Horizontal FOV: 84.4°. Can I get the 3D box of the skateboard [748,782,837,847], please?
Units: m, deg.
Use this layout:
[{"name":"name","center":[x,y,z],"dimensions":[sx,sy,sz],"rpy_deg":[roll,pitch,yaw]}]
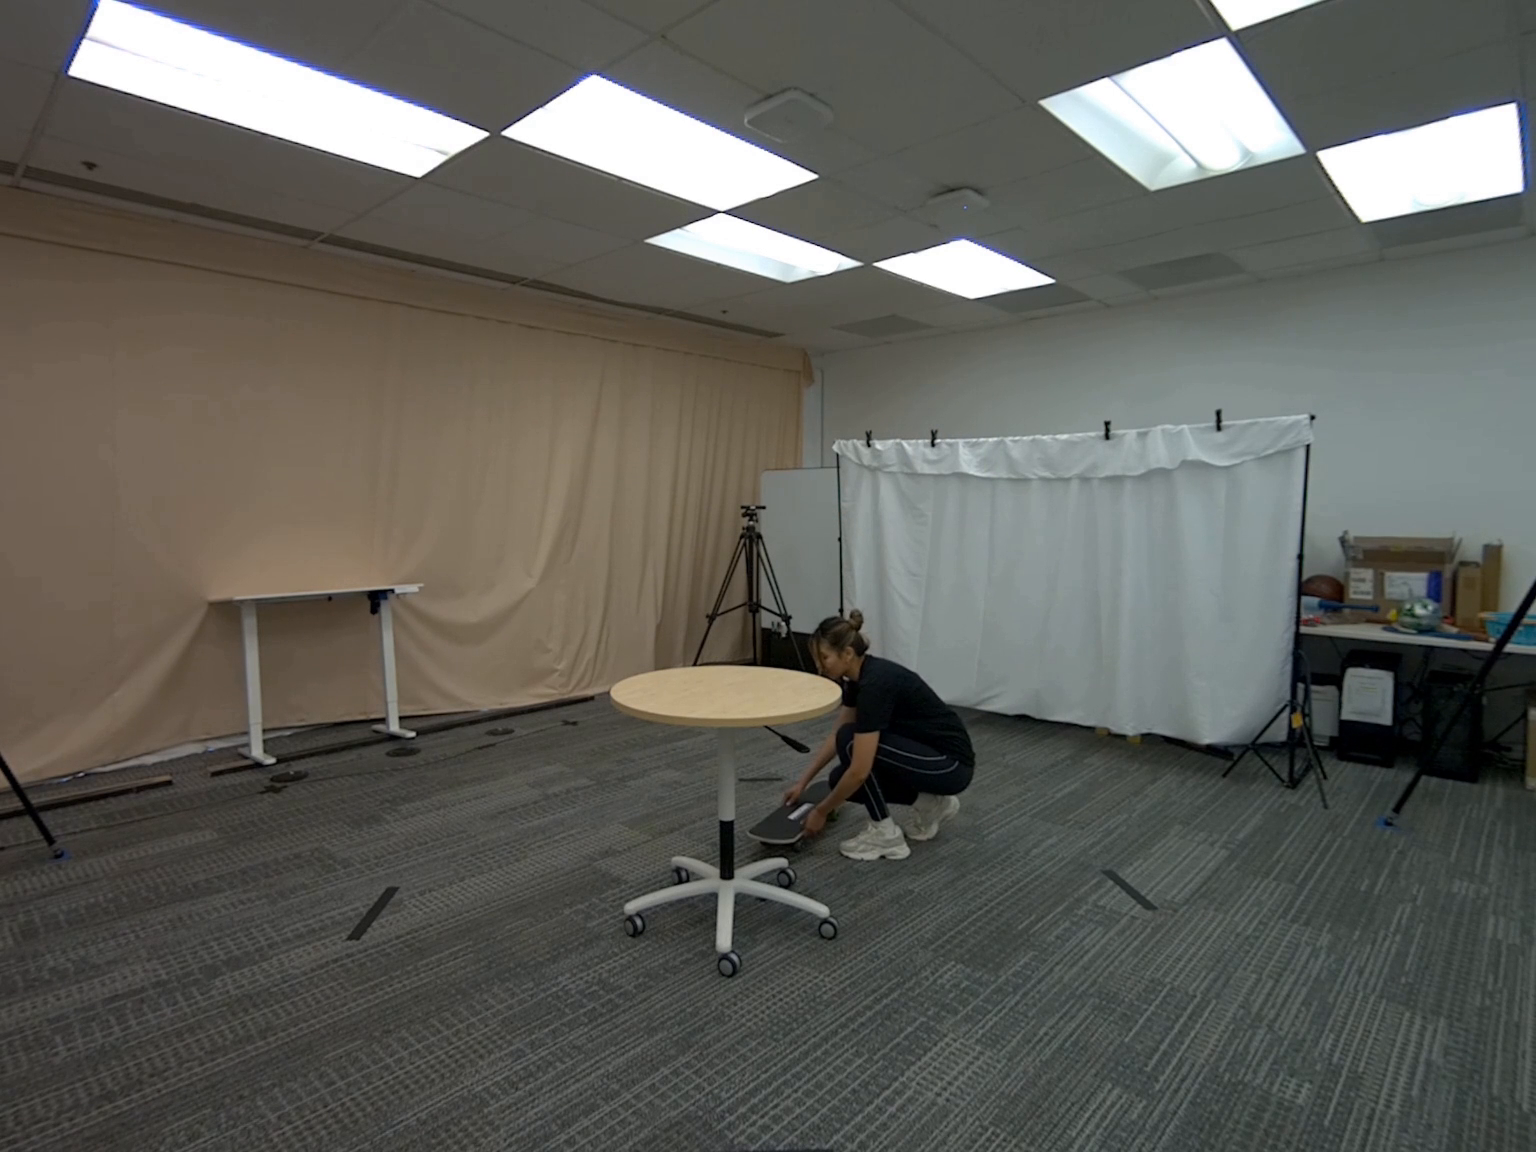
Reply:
[{"name":"skateboard","center":[0.142,1.035,3.595],"dimensions":[0.199,0.110,0.766],"rpy_deg":[2,5,26]}]
